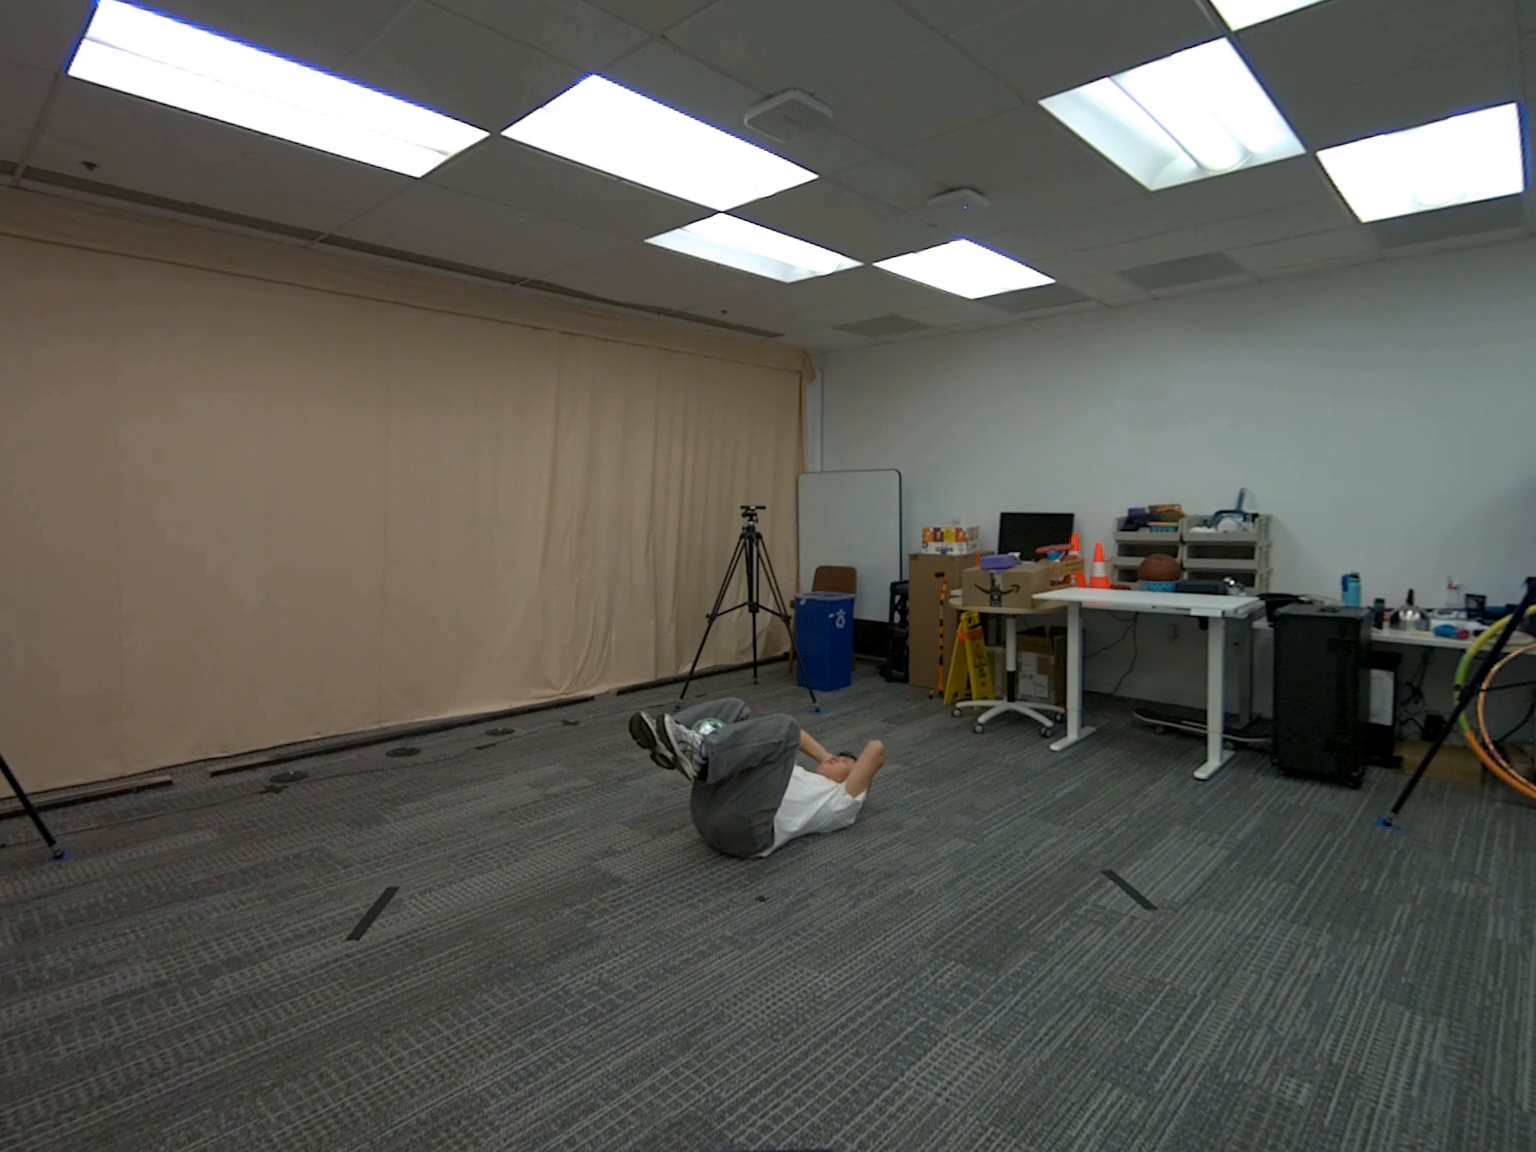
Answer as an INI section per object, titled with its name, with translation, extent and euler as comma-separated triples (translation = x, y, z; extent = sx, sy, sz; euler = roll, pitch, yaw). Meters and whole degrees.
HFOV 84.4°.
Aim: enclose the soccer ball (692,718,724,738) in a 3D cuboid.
[soccer ball]
translation = -0.242, 0.652, 3.313
extent = 0.187, 0.187, 0.188
euler = 0, 4, -2
